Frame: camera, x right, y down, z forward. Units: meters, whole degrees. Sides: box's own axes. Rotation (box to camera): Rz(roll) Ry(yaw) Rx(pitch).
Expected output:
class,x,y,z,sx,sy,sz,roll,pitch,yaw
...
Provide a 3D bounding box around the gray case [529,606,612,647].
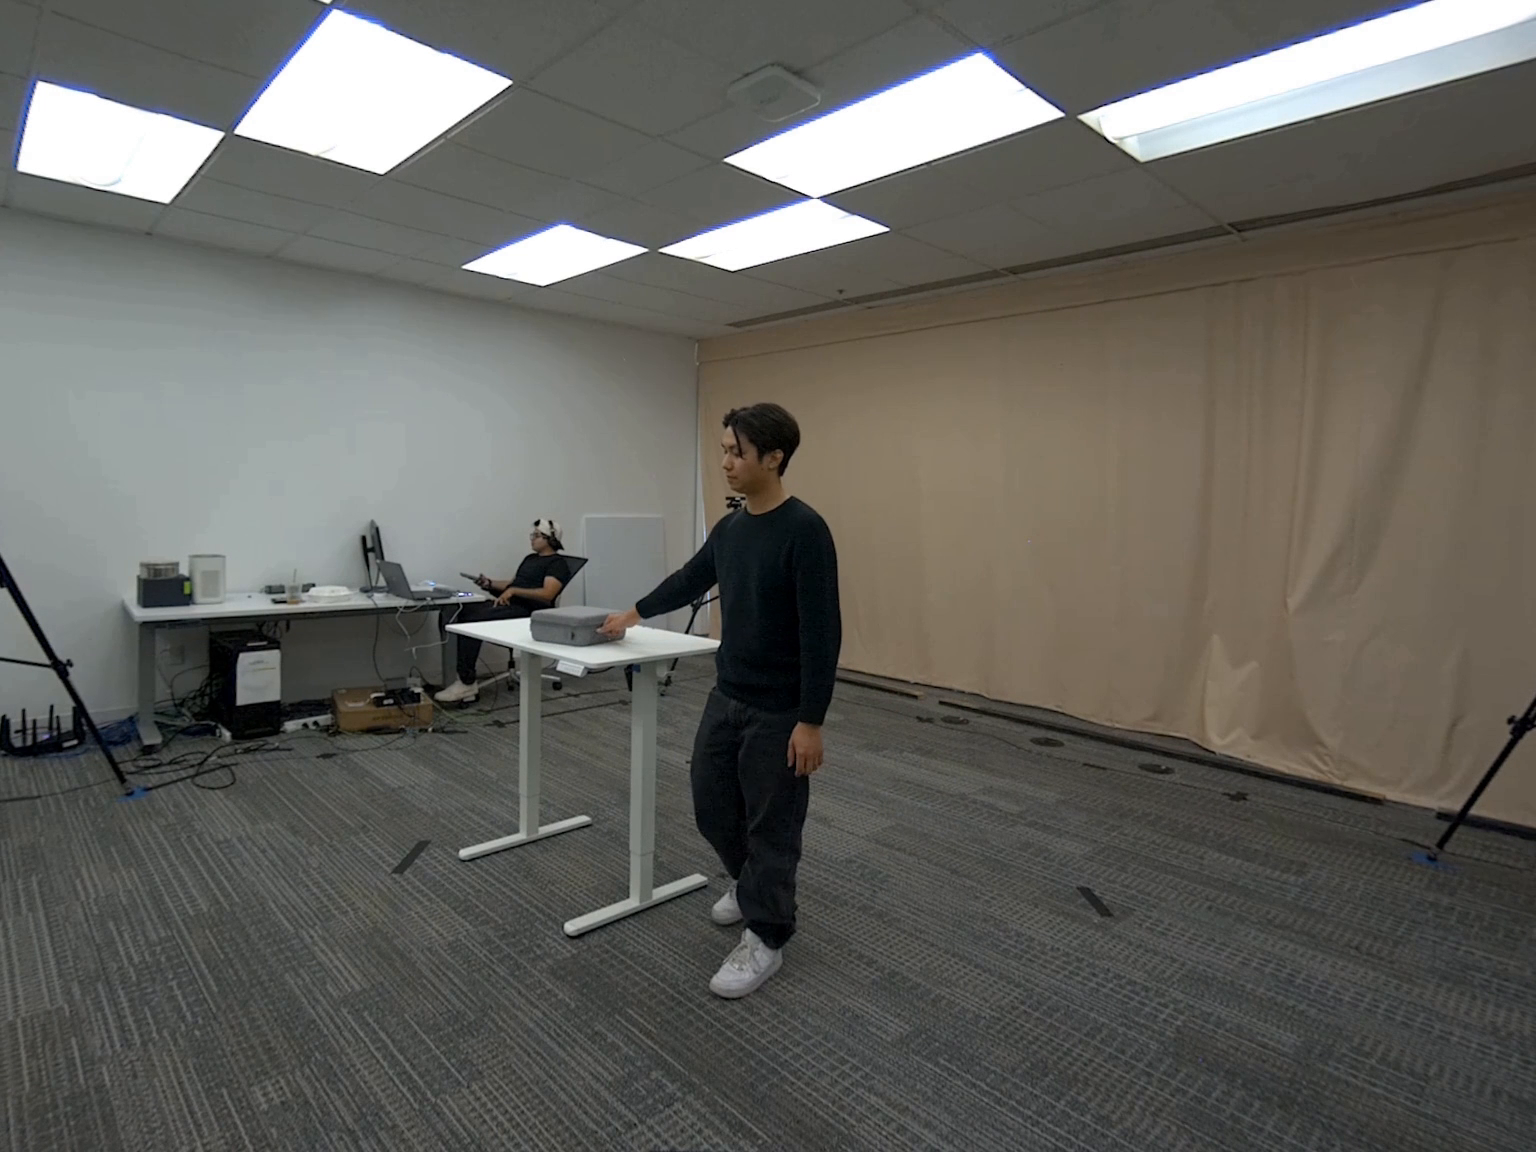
class,x,y,z,sx,sy,sz,roll,pitch,yaw
gray case,-0.662,0.170,2.960,0.266,0.104,0.252,4,5,31
